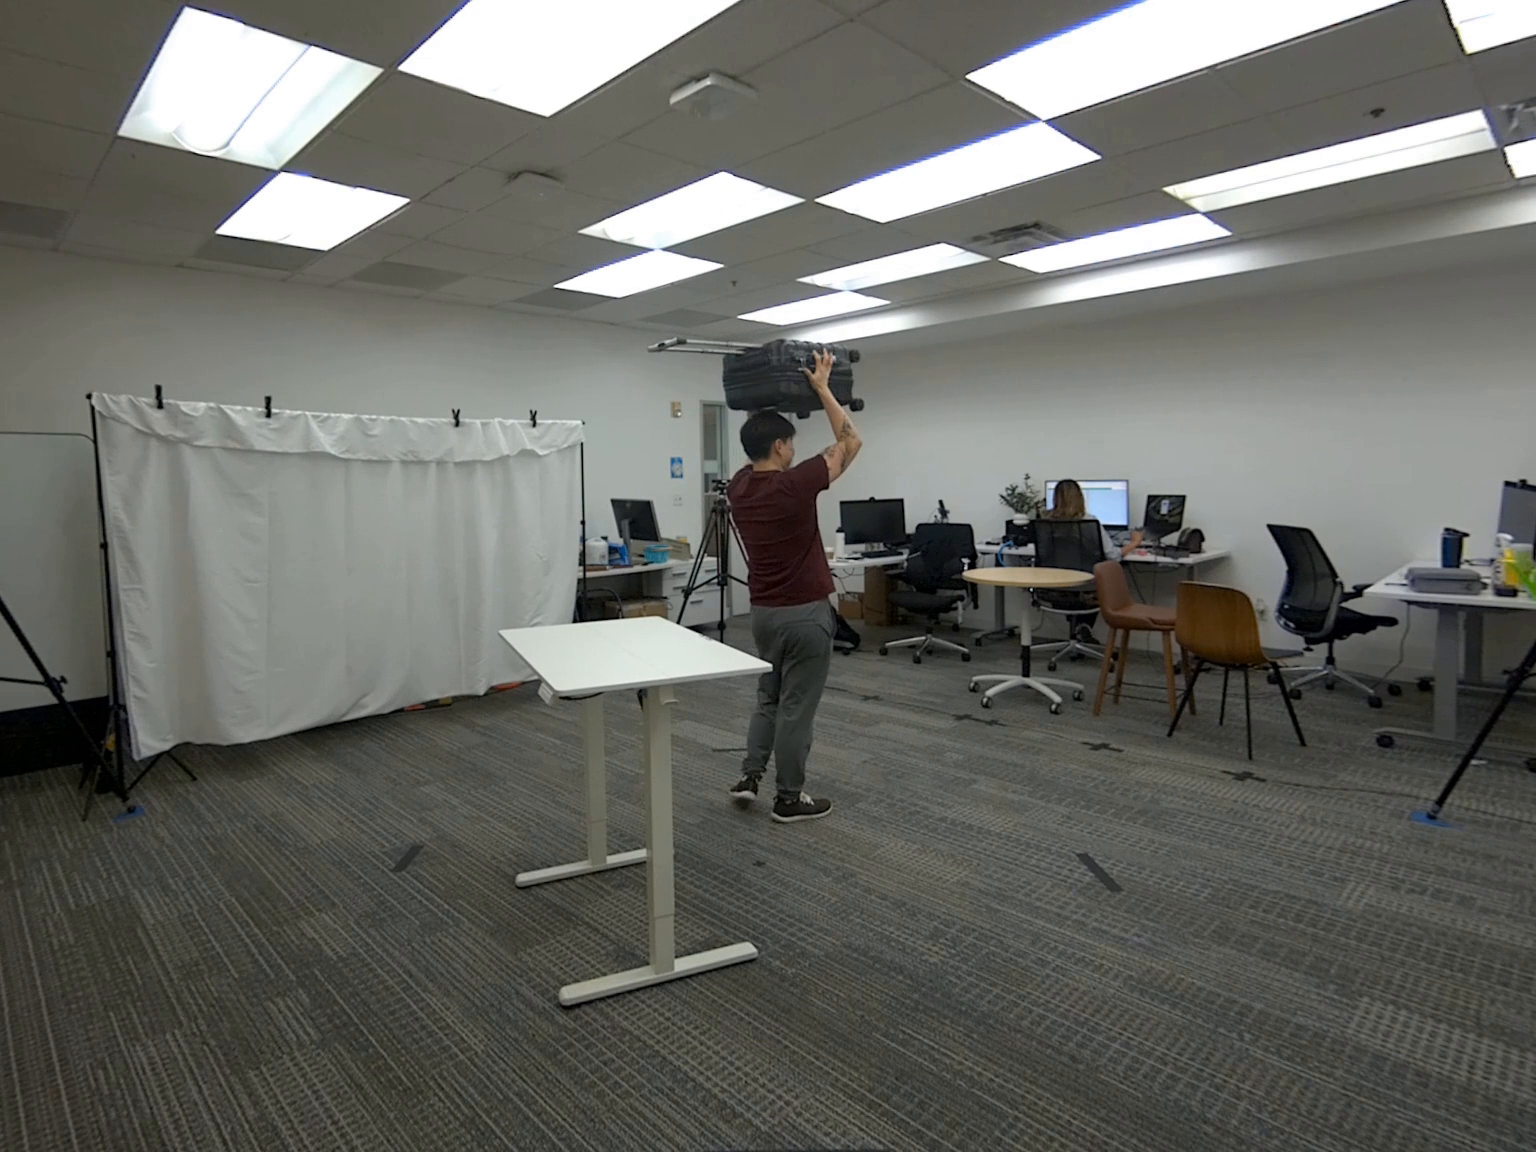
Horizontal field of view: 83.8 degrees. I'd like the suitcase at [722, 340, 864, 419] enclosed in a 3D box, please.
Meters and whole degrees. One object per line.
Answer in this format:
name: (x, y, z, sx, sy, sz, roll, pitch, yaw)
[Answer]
suitcase: (-0.041, -0.788, 3.405, 0.395, 0.256, 0.955, -1, 6, 43)
